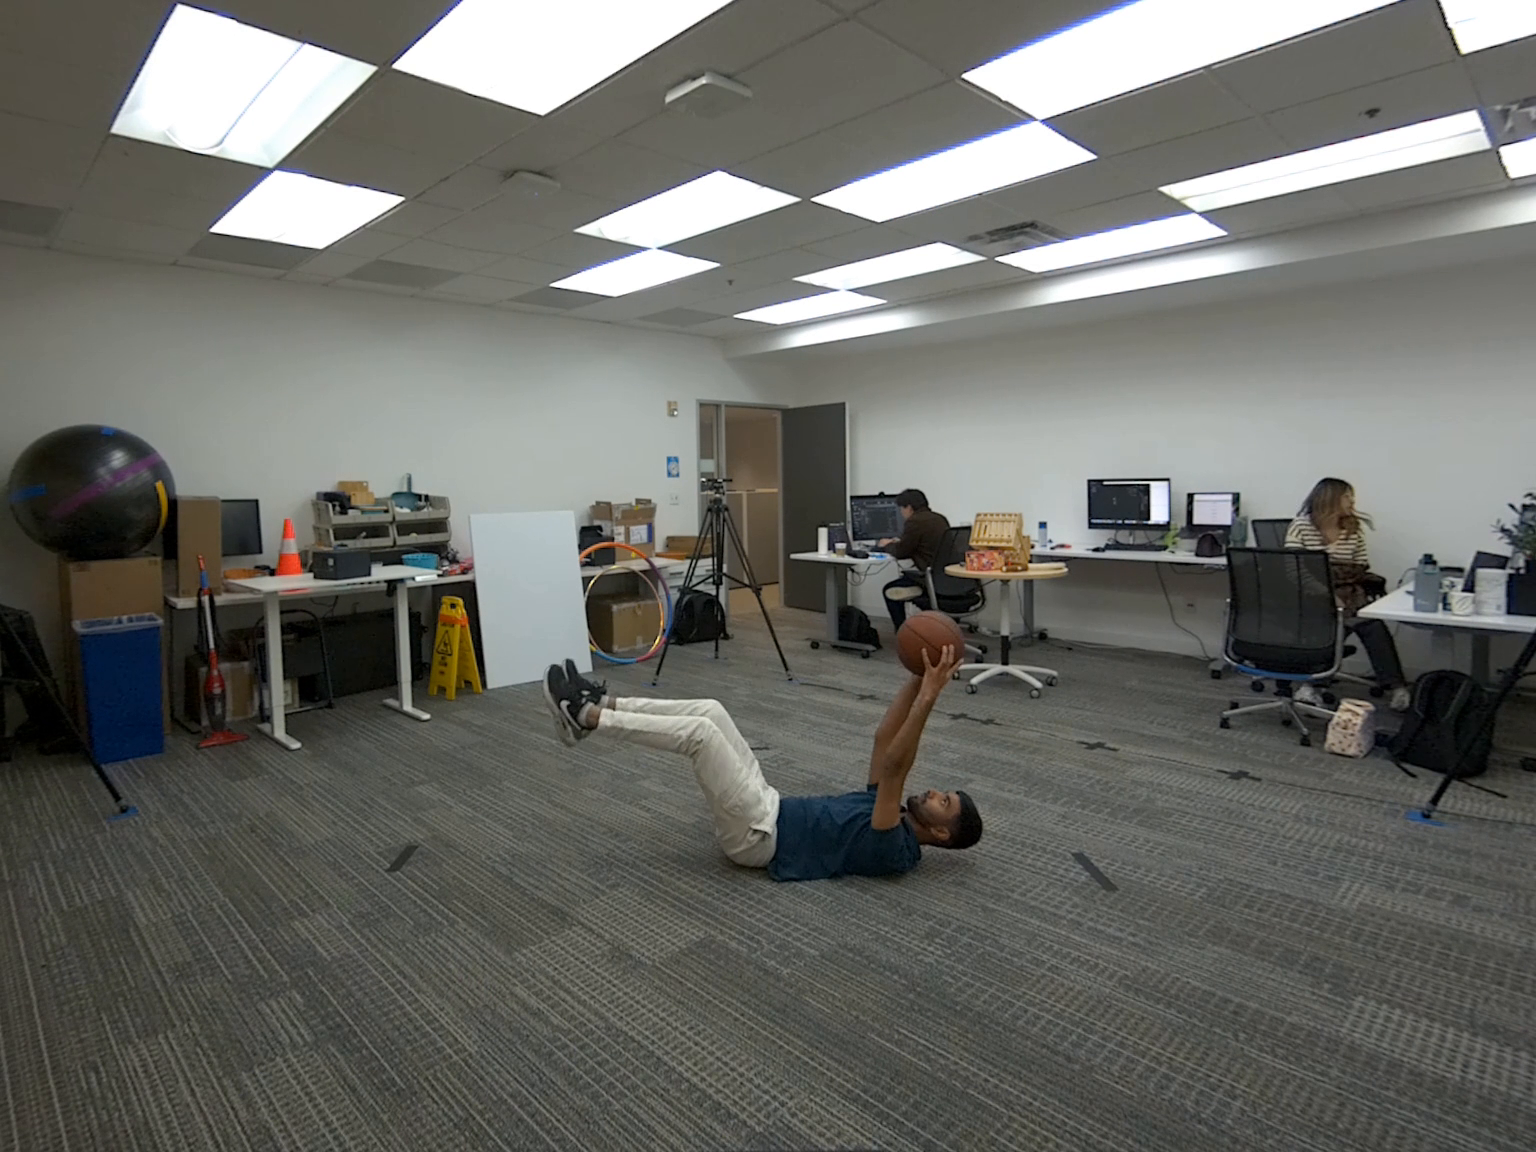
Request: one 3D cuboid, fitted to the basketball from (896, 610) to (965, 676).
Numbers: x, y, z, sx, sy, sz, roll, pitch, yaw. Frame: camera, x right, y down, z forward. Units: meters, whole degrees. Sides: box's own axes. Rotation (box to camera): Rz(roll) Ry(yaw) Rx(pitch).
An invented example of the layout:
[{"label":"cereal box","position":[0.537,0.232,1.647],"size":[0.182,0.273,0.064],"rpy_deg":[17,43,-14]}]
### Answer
[{"label":"basketball","position":[0.577,0.241,3.049],"size":[0.236,0.235,0.237],"rpy_deg":[-1,5,-2]}]
